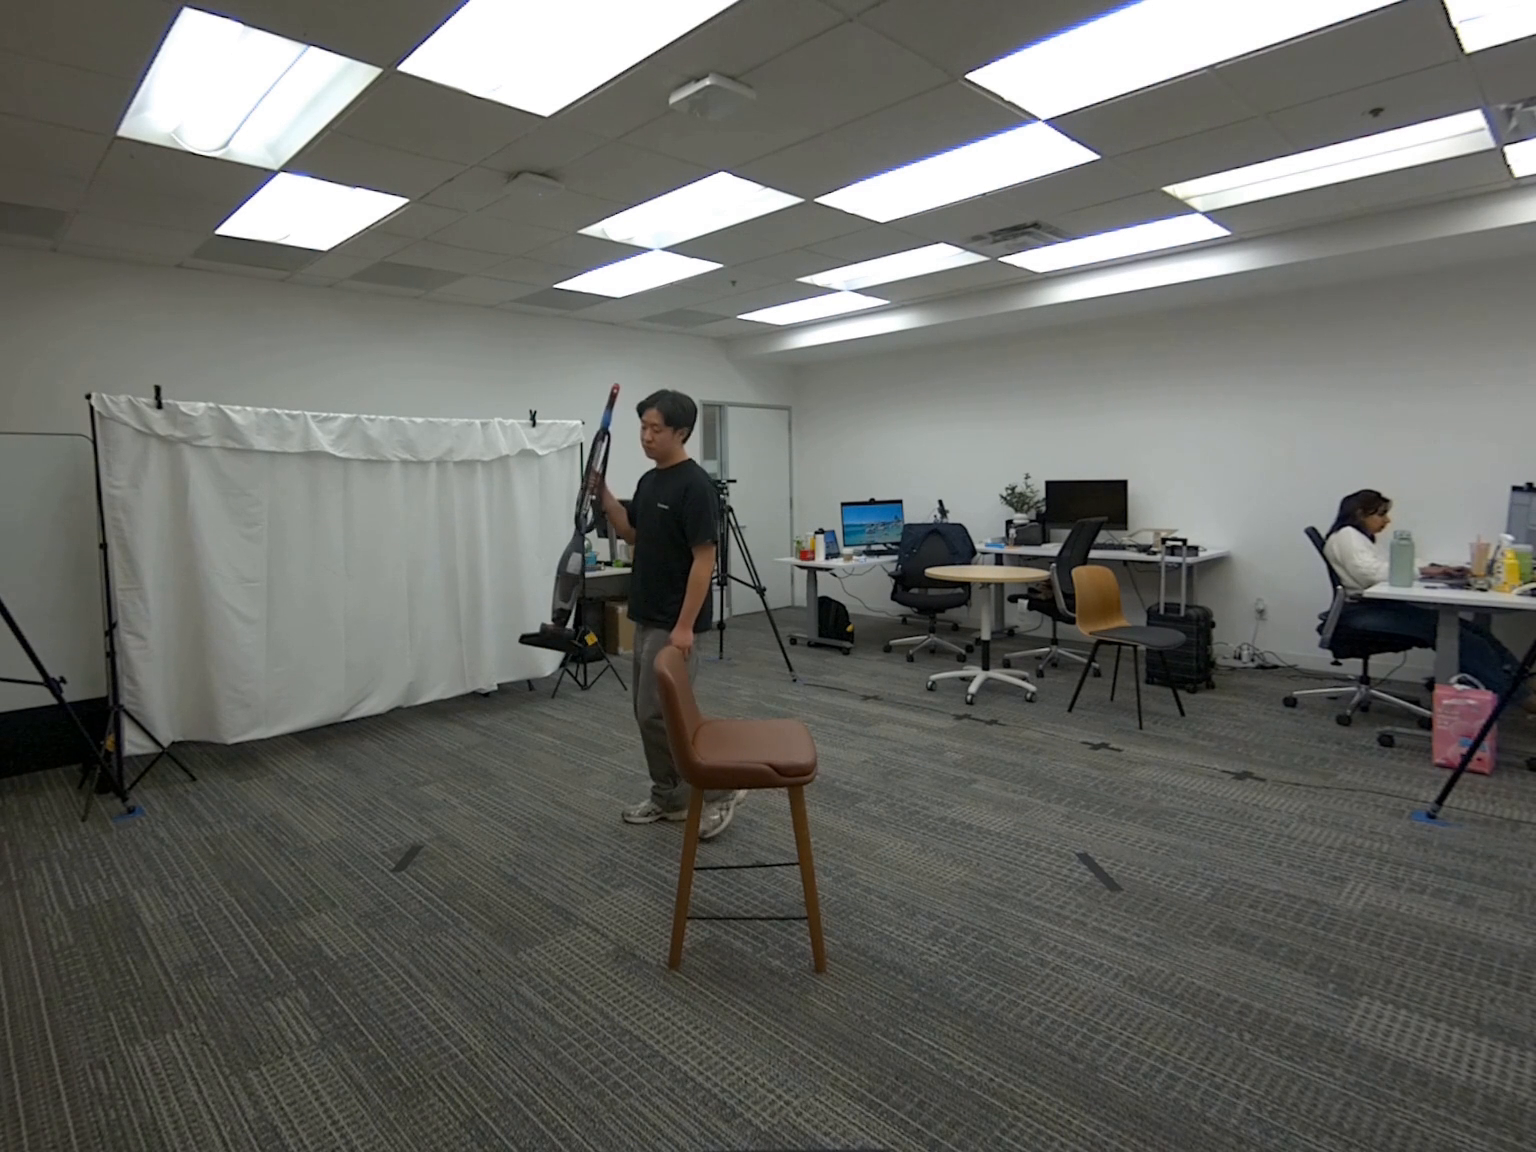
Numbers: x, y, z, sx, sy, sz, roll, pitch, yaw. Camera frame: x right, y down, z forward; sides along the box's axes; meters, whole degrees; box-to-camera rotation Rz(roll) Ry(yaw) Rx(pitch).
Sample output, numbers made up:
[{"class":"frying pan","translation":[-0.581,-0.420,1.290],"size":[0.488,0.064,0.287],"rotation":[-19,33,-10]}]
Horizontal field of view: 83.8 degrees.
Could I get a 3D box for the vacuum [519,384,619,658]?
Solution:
[{"class":"vacuum","translation":[-0.724,-0.256,3.408],"size":[0.251,1.050,0.145],"rotation":[12,-2,-6]}]
